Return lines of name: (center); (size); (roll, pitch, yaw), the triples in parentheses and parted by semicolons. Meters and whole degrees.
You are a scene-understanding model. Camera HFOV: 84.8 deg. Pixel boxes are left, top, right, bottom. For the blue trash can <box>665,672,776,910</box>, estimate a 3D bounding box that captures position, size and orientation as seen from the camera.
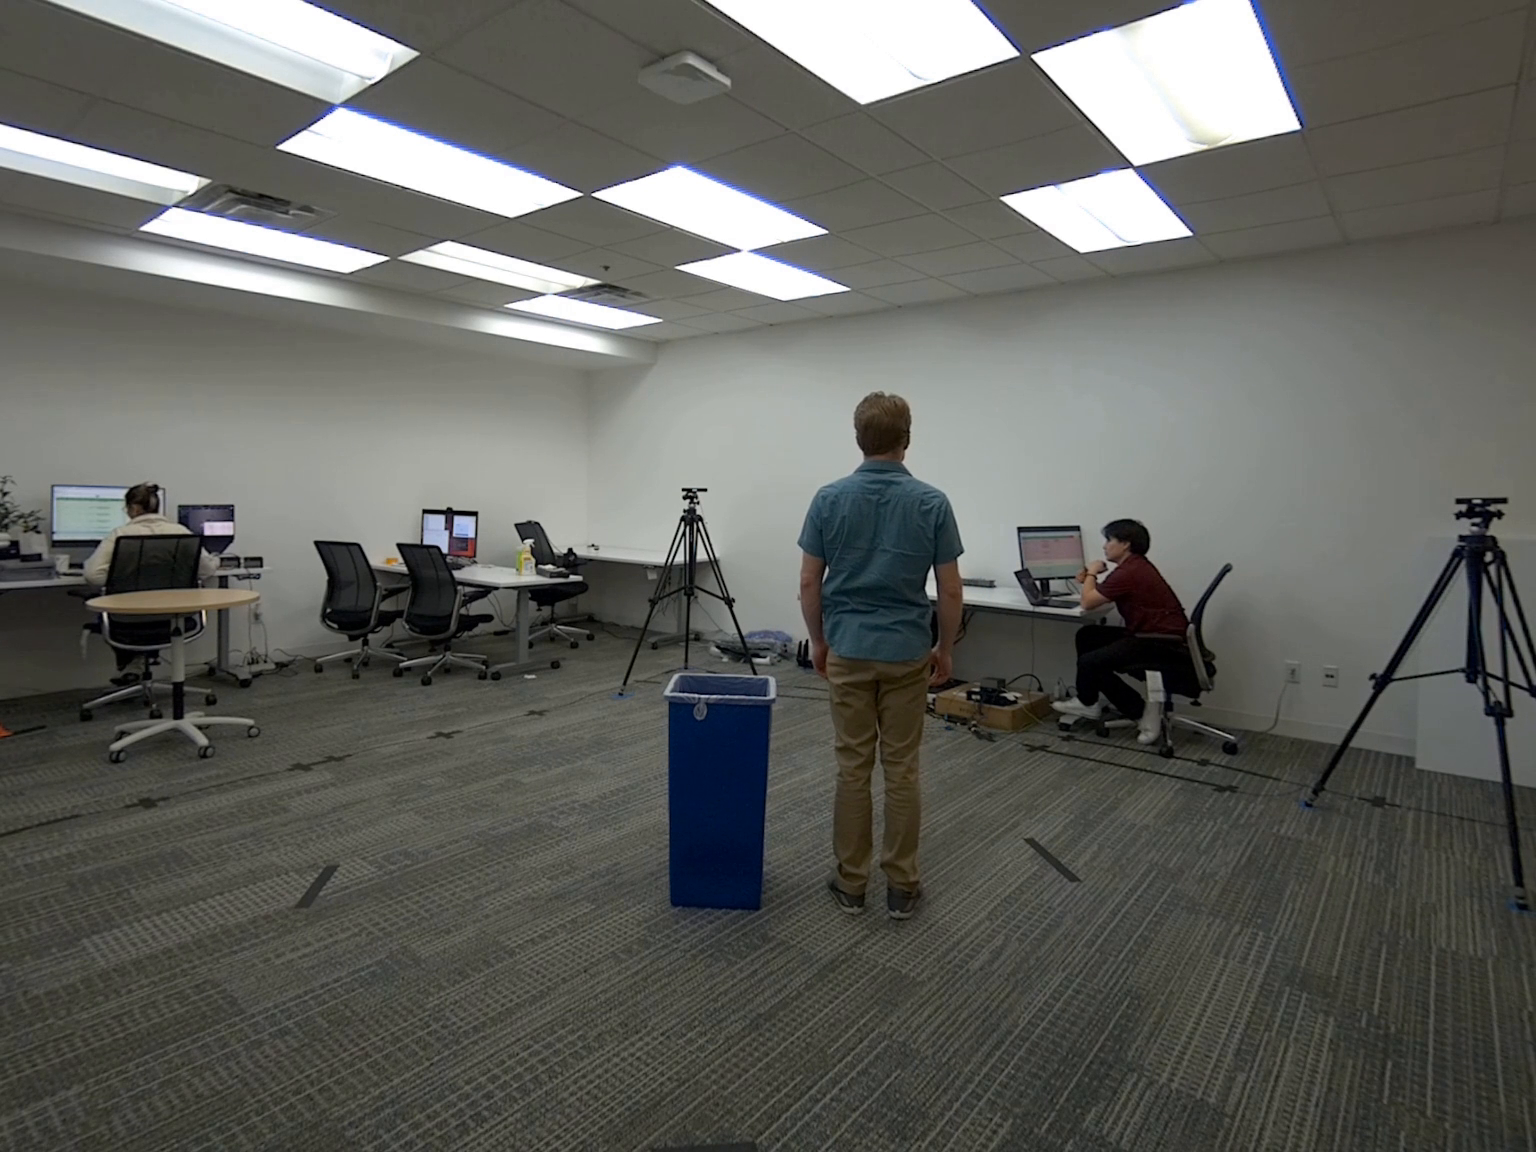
blue trash can: (-0.169, 0.727, 2.960); (0.375, 0.712, 0.378); (1, 2, 1)
